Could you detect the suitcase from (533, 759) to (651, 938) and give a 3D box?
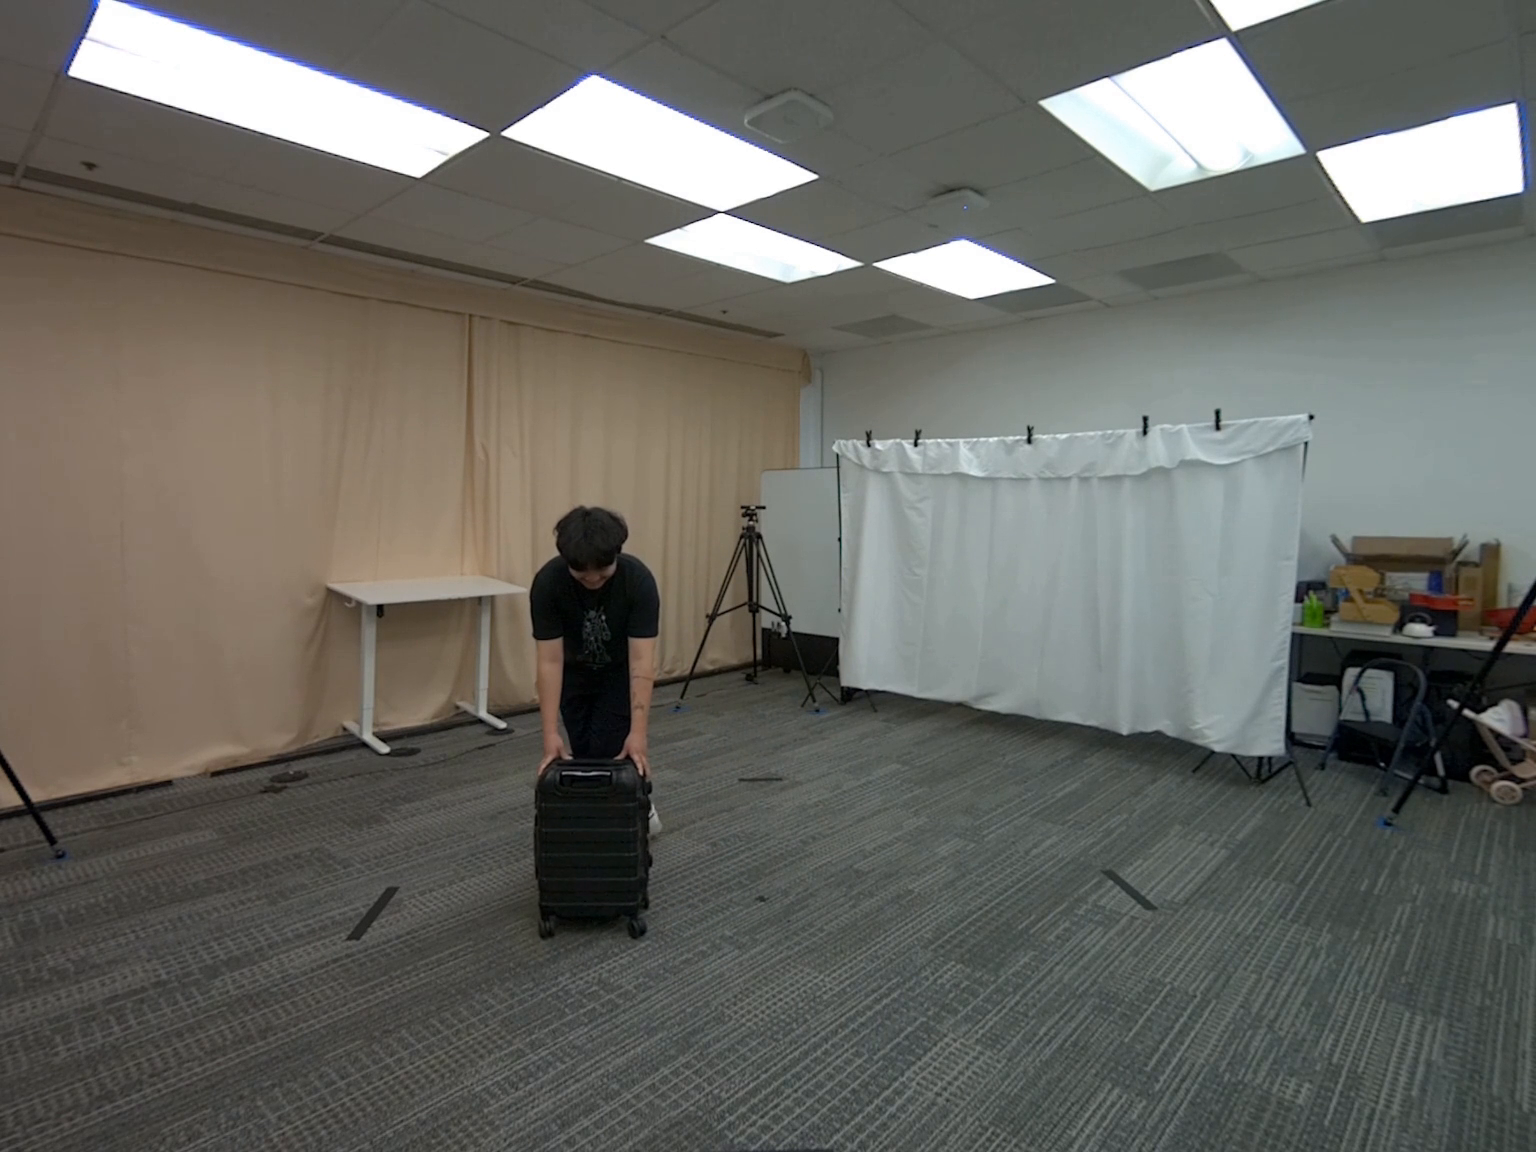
[{"bbox_3d":[-0.590,0.887,2.844,0.375,0.549,0.248,-1,0,0],"label":"suitcase"}]
